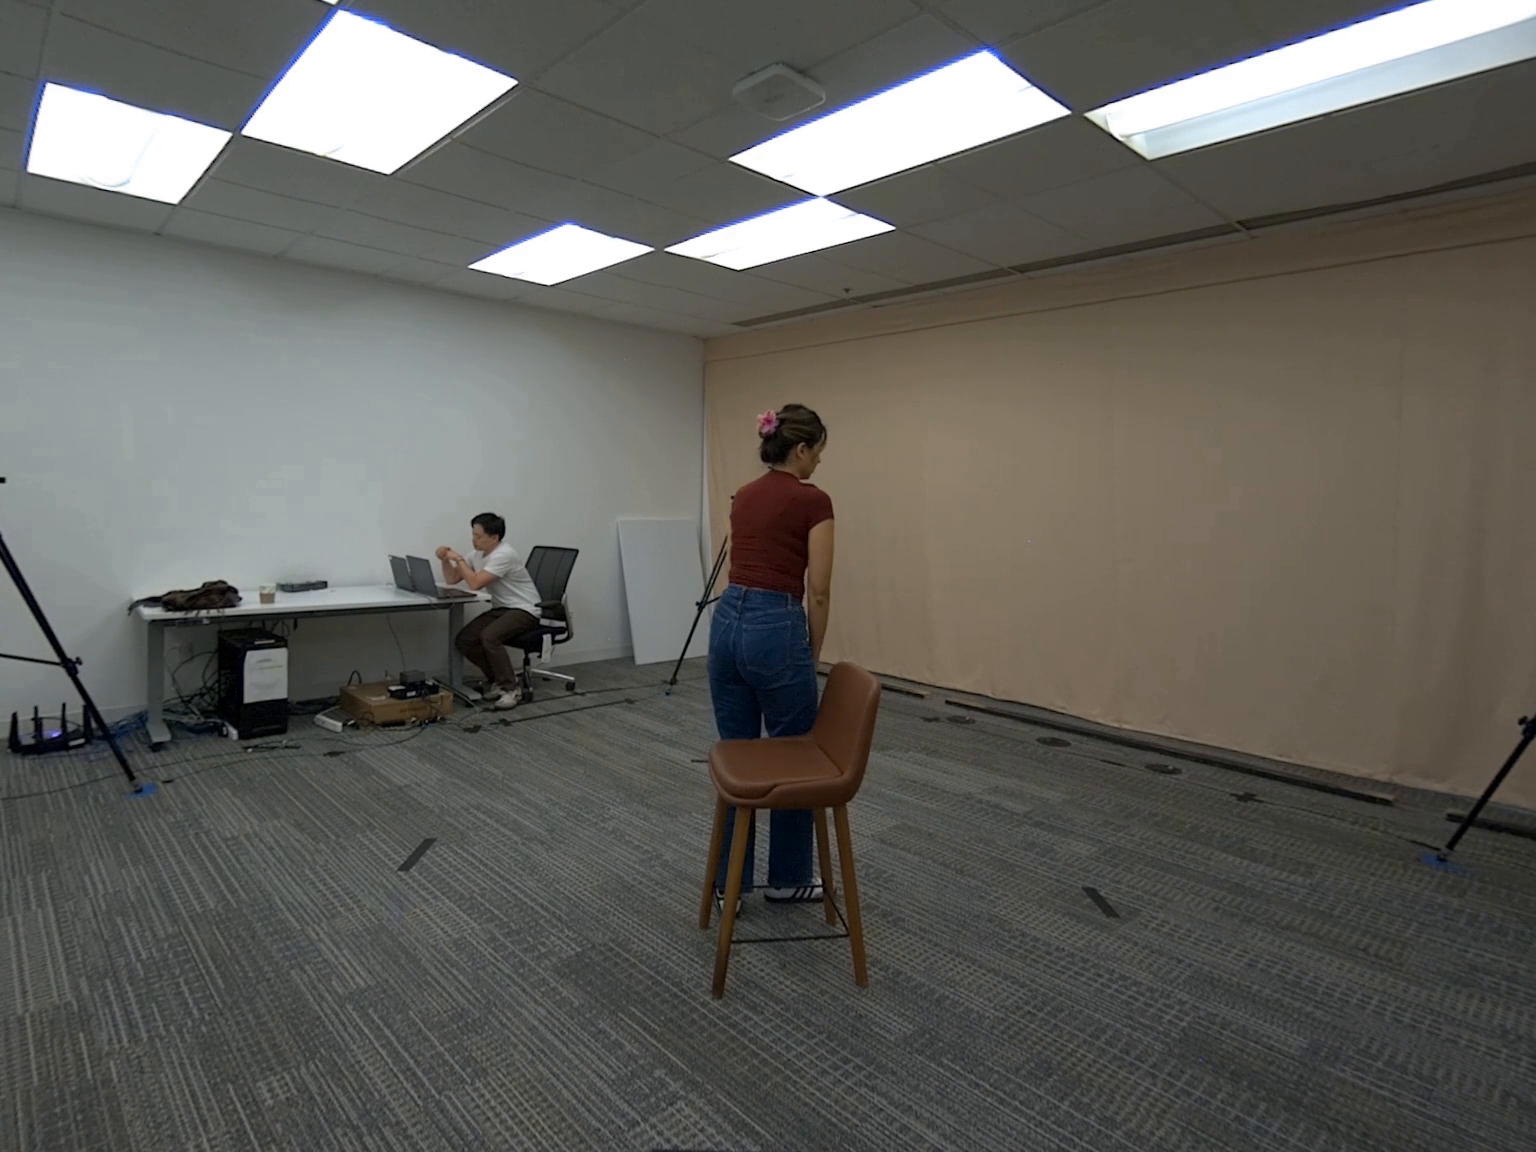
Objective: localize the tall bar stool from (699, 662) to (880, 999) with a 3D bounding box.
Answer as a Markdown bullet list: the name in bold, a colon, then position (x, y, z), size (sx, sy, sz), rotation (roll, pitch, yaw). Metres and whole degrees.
- **tall bar stool**: position (0.054, 0.732, 2.523), size (0.464, 0.887, 0.461), rotation (3, 4, -10)
